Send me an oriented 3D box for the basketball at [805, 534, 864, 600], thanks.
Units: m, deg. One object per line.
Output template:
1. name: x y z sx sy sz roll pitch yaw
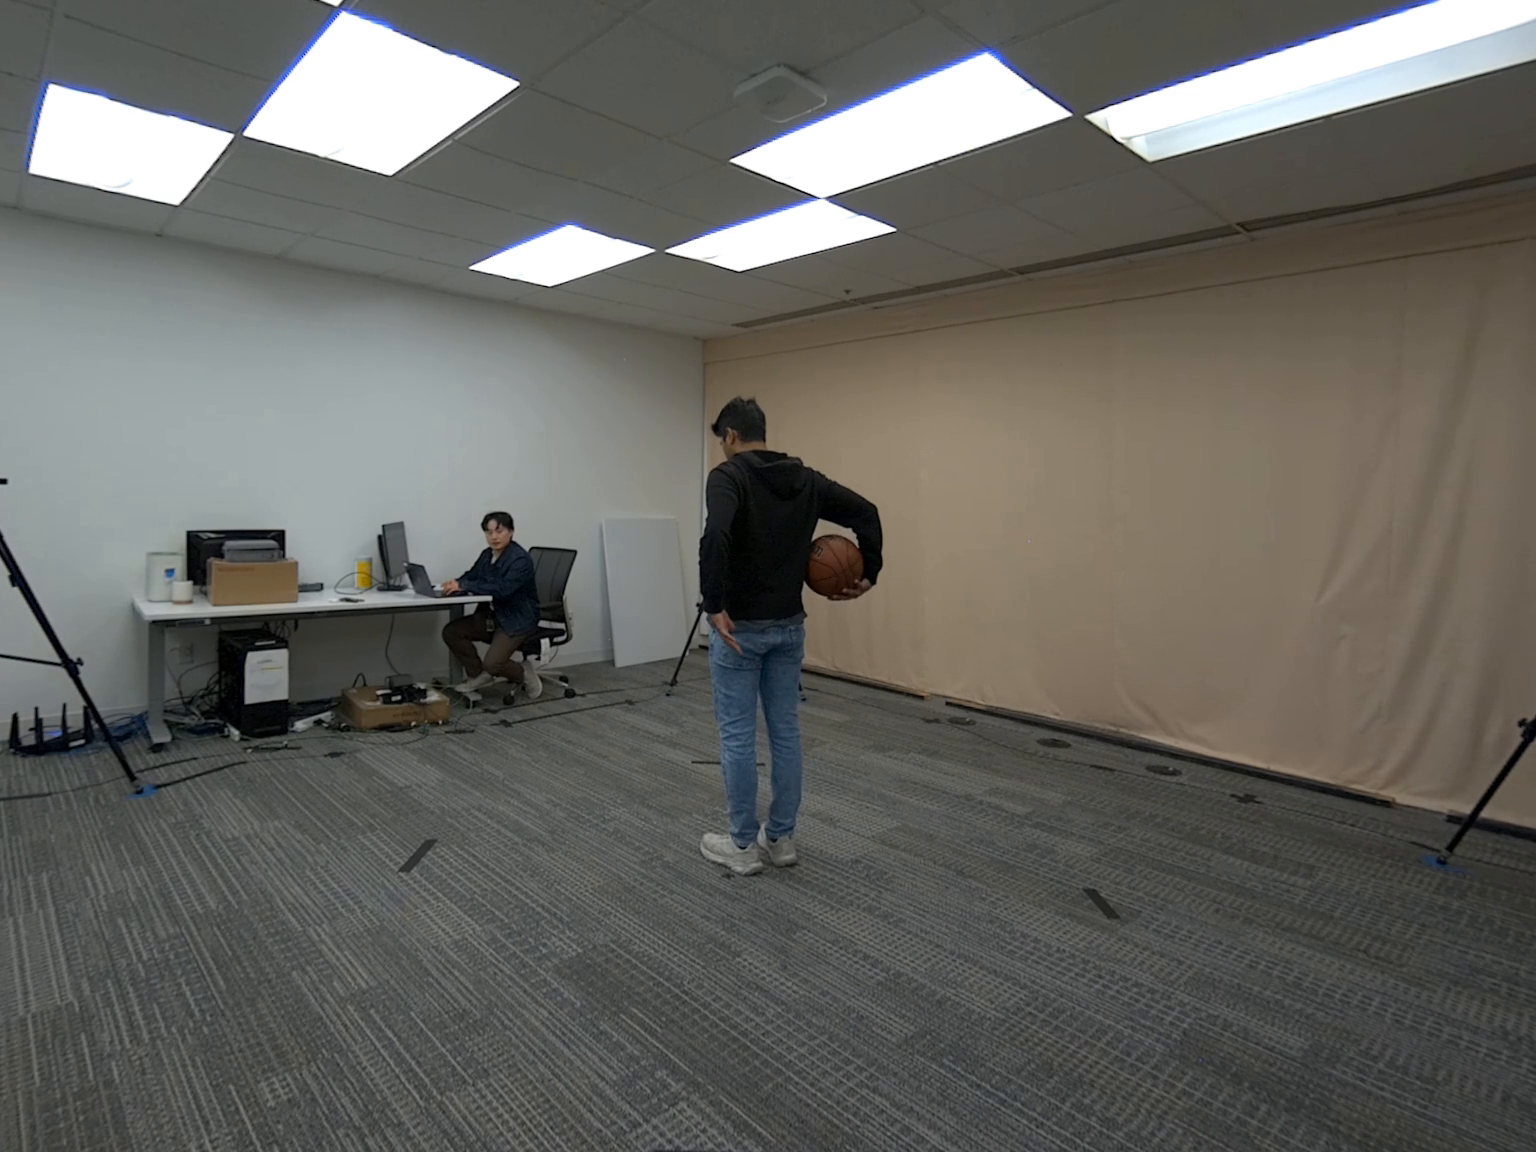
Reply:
1. basketball: 0.219 -0.042 3.200 0.236 0.235 0.237 1 4 -1
